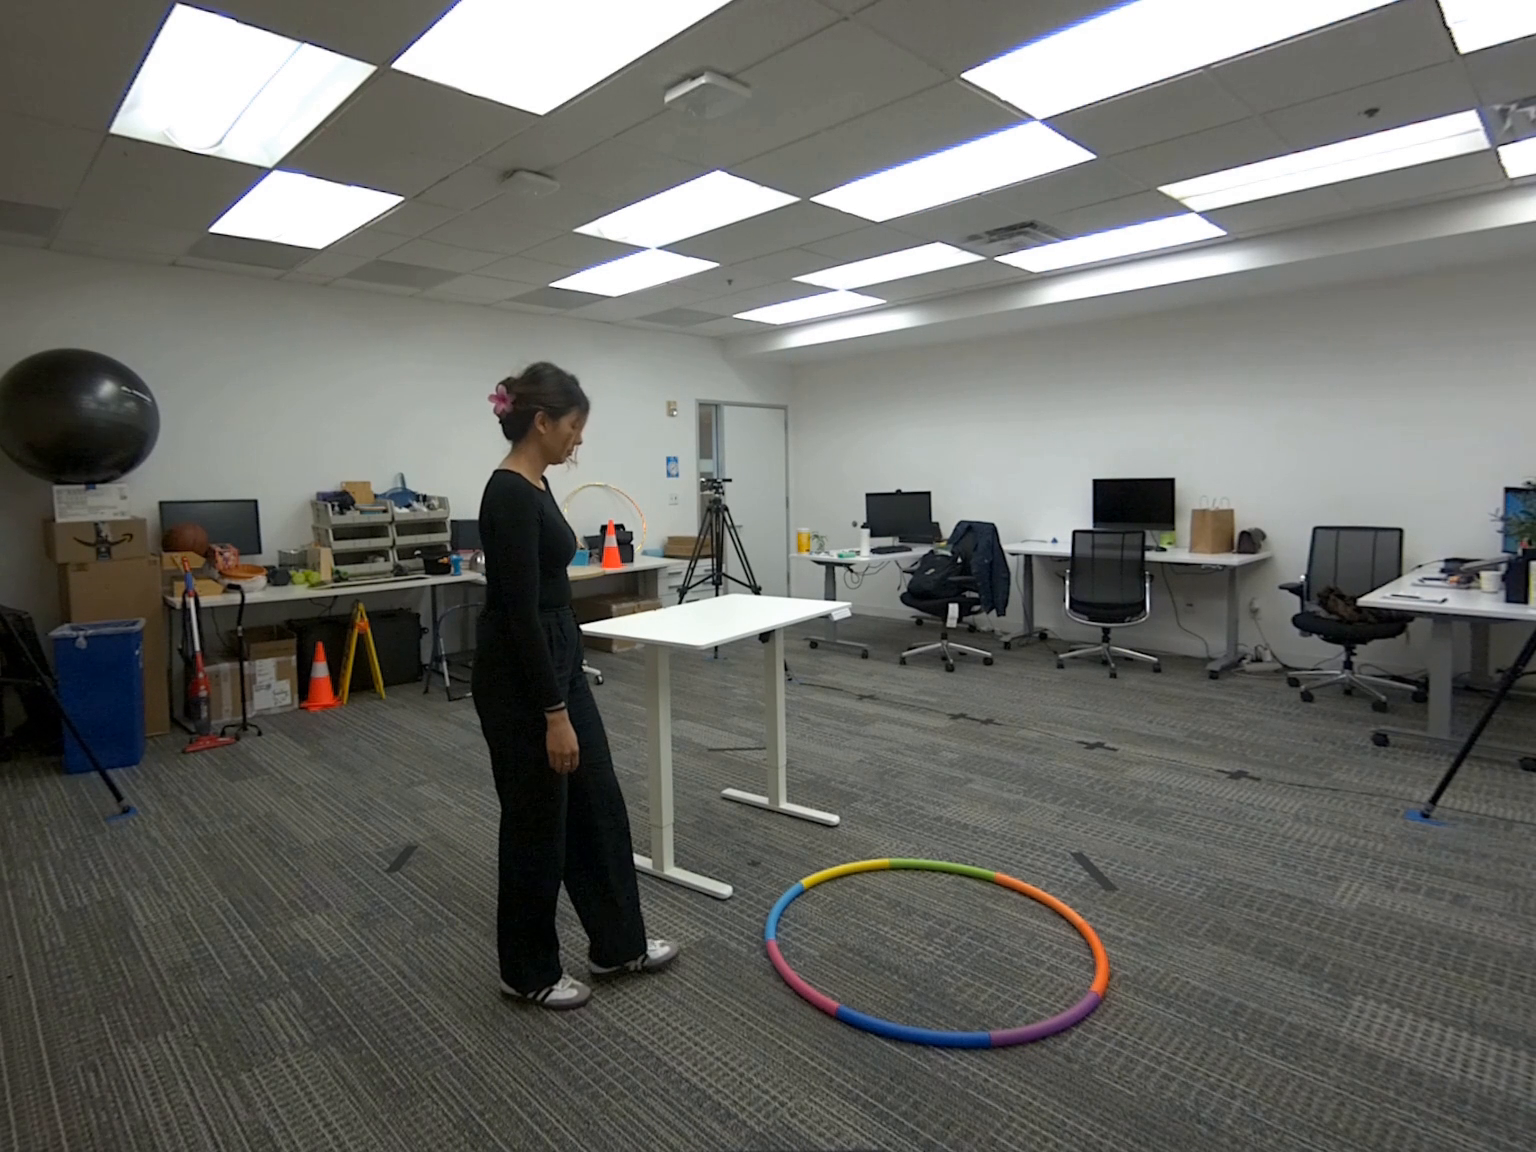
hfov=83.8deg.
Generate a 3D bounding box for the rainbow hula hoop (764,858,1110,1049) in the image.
[{"bbox_3d":[0.488,1.069,2.571,0.978,0.035,0.984,-2,6,-2],"label":"rainbow hula hoop"}]
